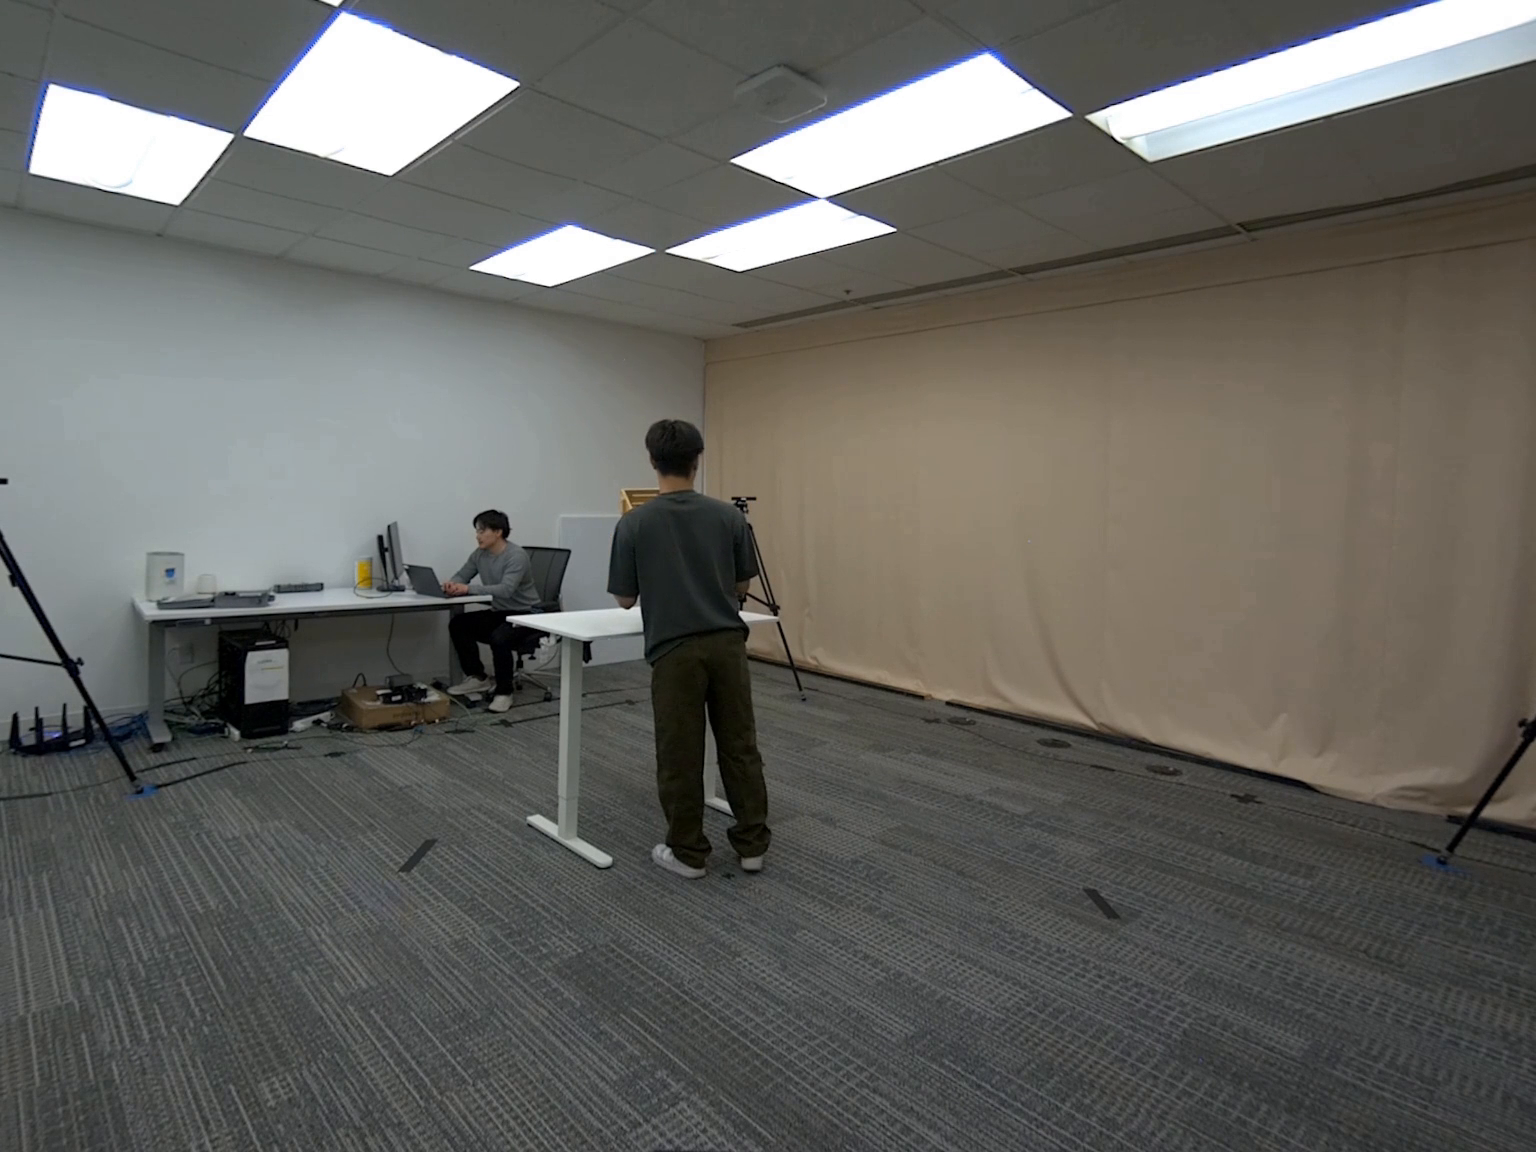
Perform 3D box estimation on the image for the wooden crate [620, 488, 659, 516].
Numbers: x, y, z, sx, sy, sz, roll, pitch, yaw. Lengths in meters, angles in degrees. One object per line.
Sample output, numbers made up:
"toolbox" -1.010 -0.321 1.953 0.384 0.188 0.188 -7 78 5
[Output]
"wooden crate" -0.420 -0.164 3.371 0.319 0.269 0.311 -3 37 -24
